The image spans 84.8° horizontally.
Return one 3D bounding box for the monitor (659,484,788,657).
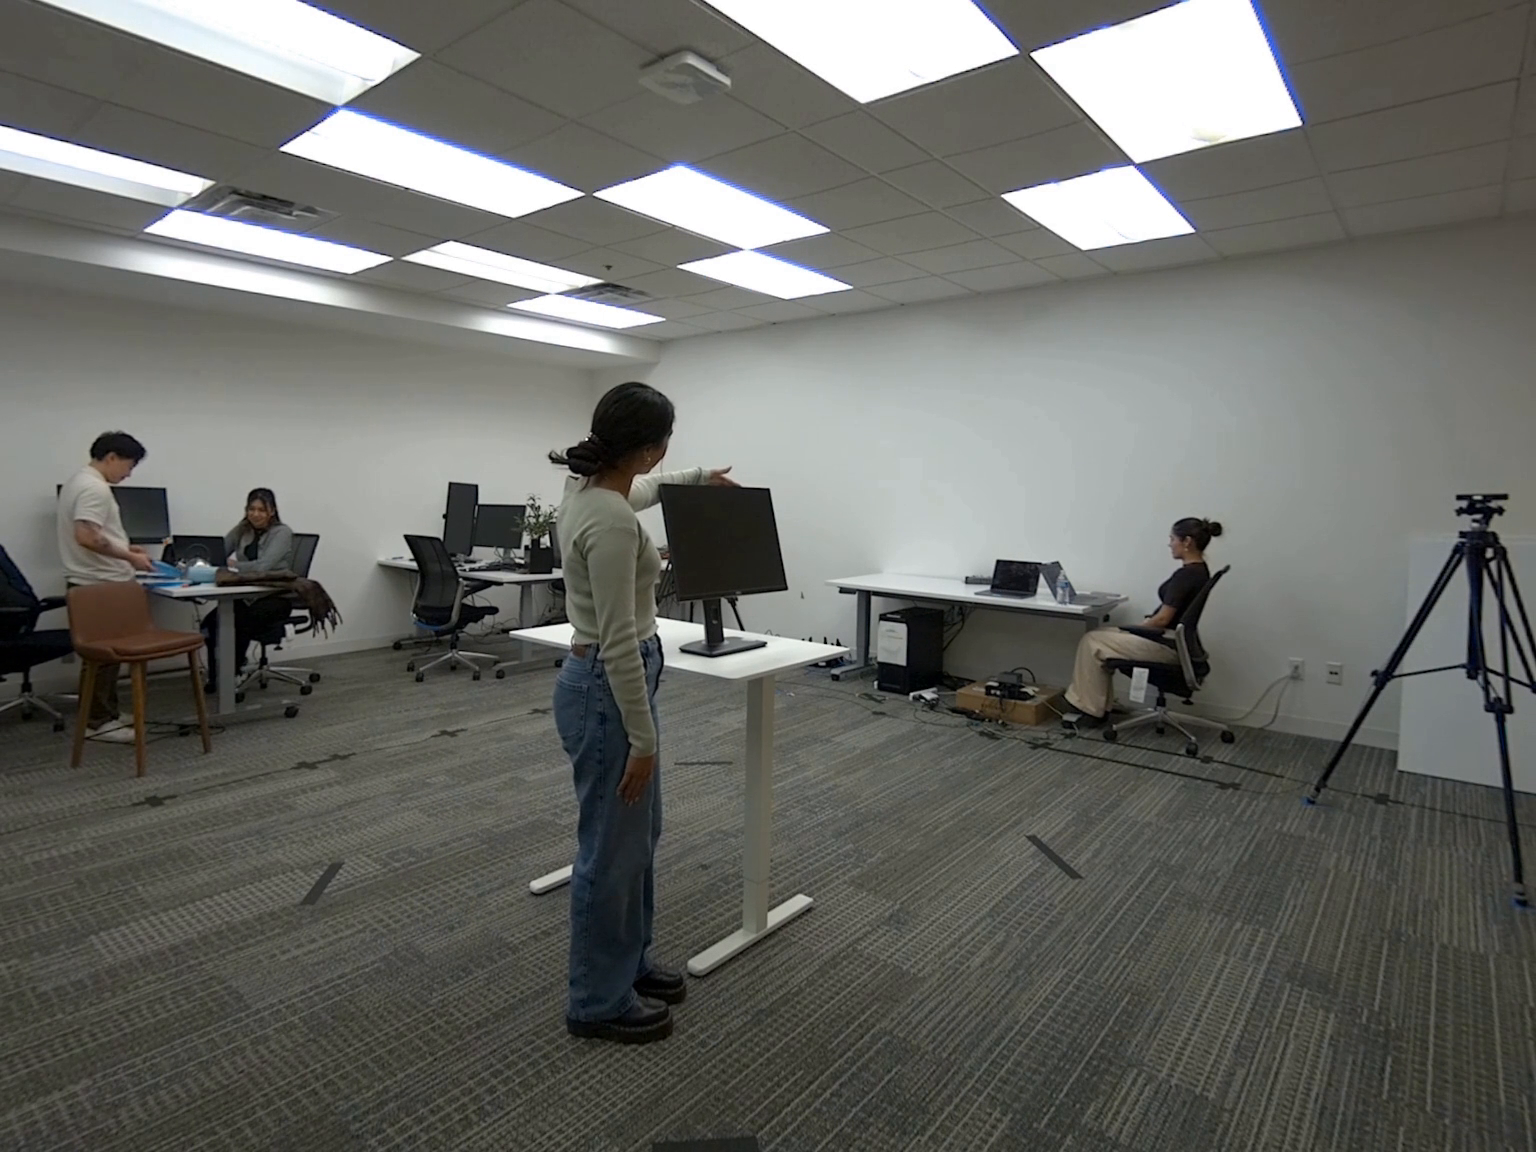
[{"bbox_3d":[-0.158,-0.023,2.687,0.193,0.521,0.524,1,3,36],"label":"monitor"}]
